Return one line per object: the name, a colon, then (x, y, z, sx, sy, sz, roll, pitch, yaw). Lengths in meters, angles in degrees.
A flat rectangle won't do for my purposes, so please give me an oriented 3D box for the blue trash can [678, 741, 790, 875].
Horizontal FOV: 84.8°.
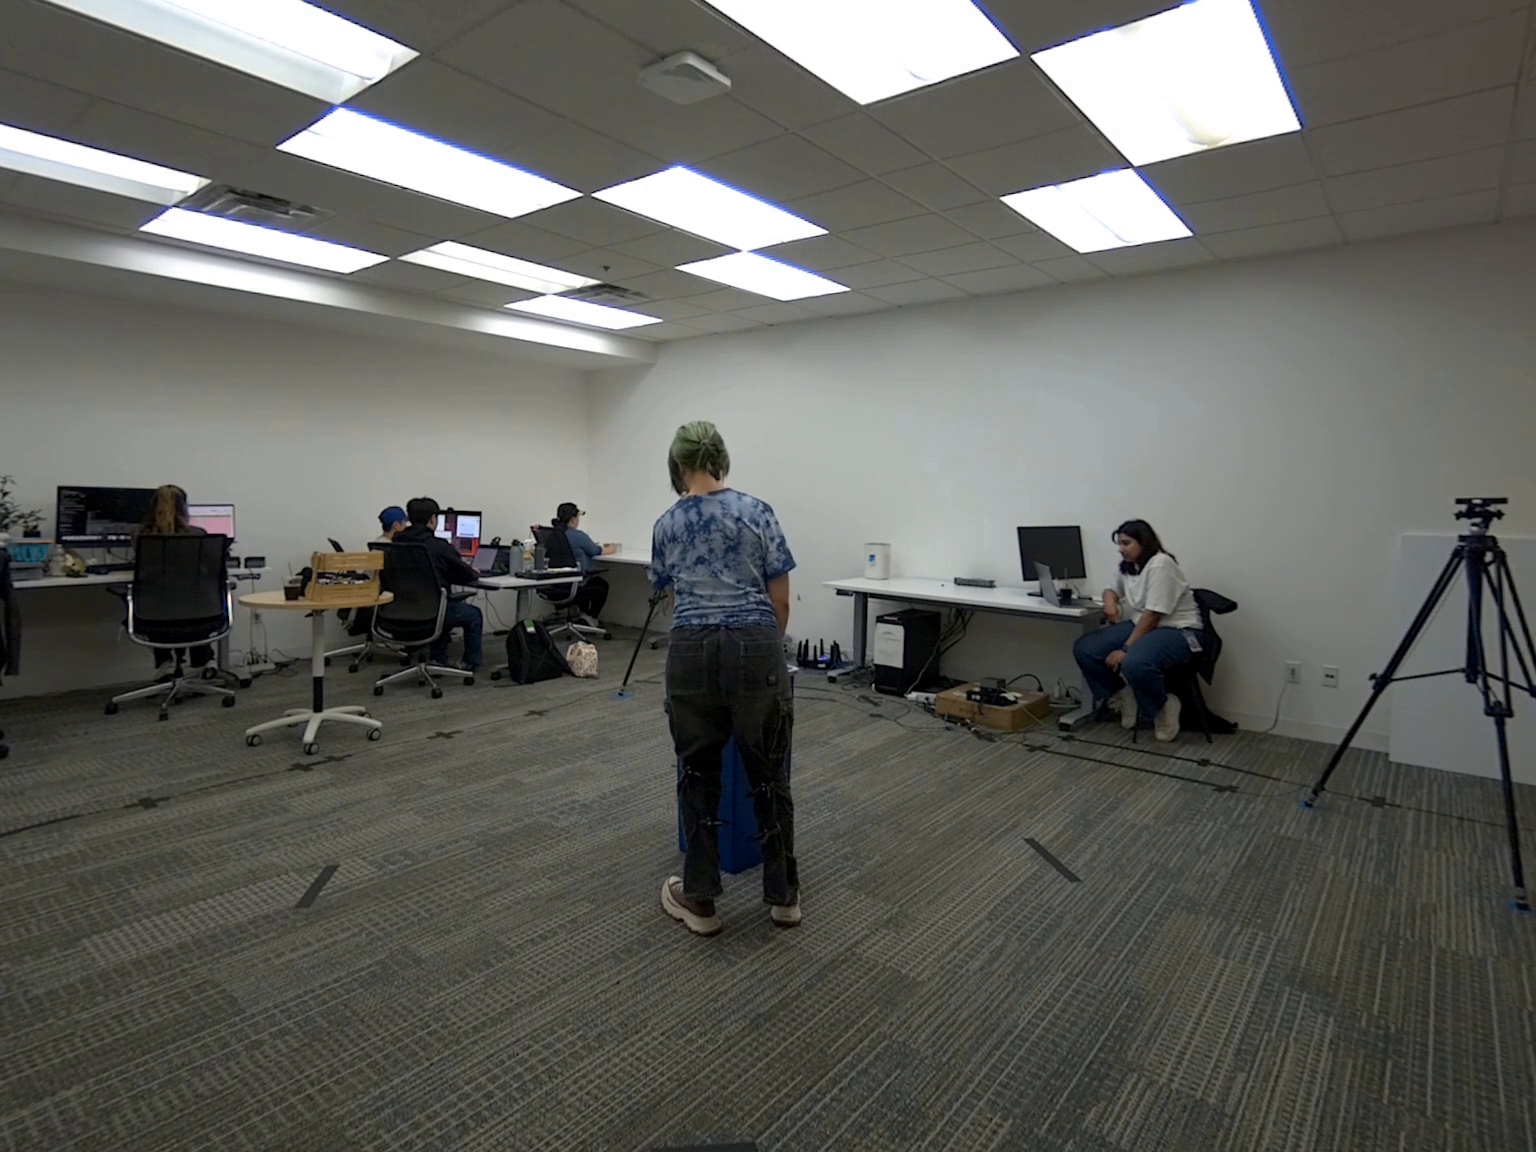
blue trash can: (-0.143, 0.696, 3.247, 0.391, 0.712, 0.363, 4, 4, 43)
